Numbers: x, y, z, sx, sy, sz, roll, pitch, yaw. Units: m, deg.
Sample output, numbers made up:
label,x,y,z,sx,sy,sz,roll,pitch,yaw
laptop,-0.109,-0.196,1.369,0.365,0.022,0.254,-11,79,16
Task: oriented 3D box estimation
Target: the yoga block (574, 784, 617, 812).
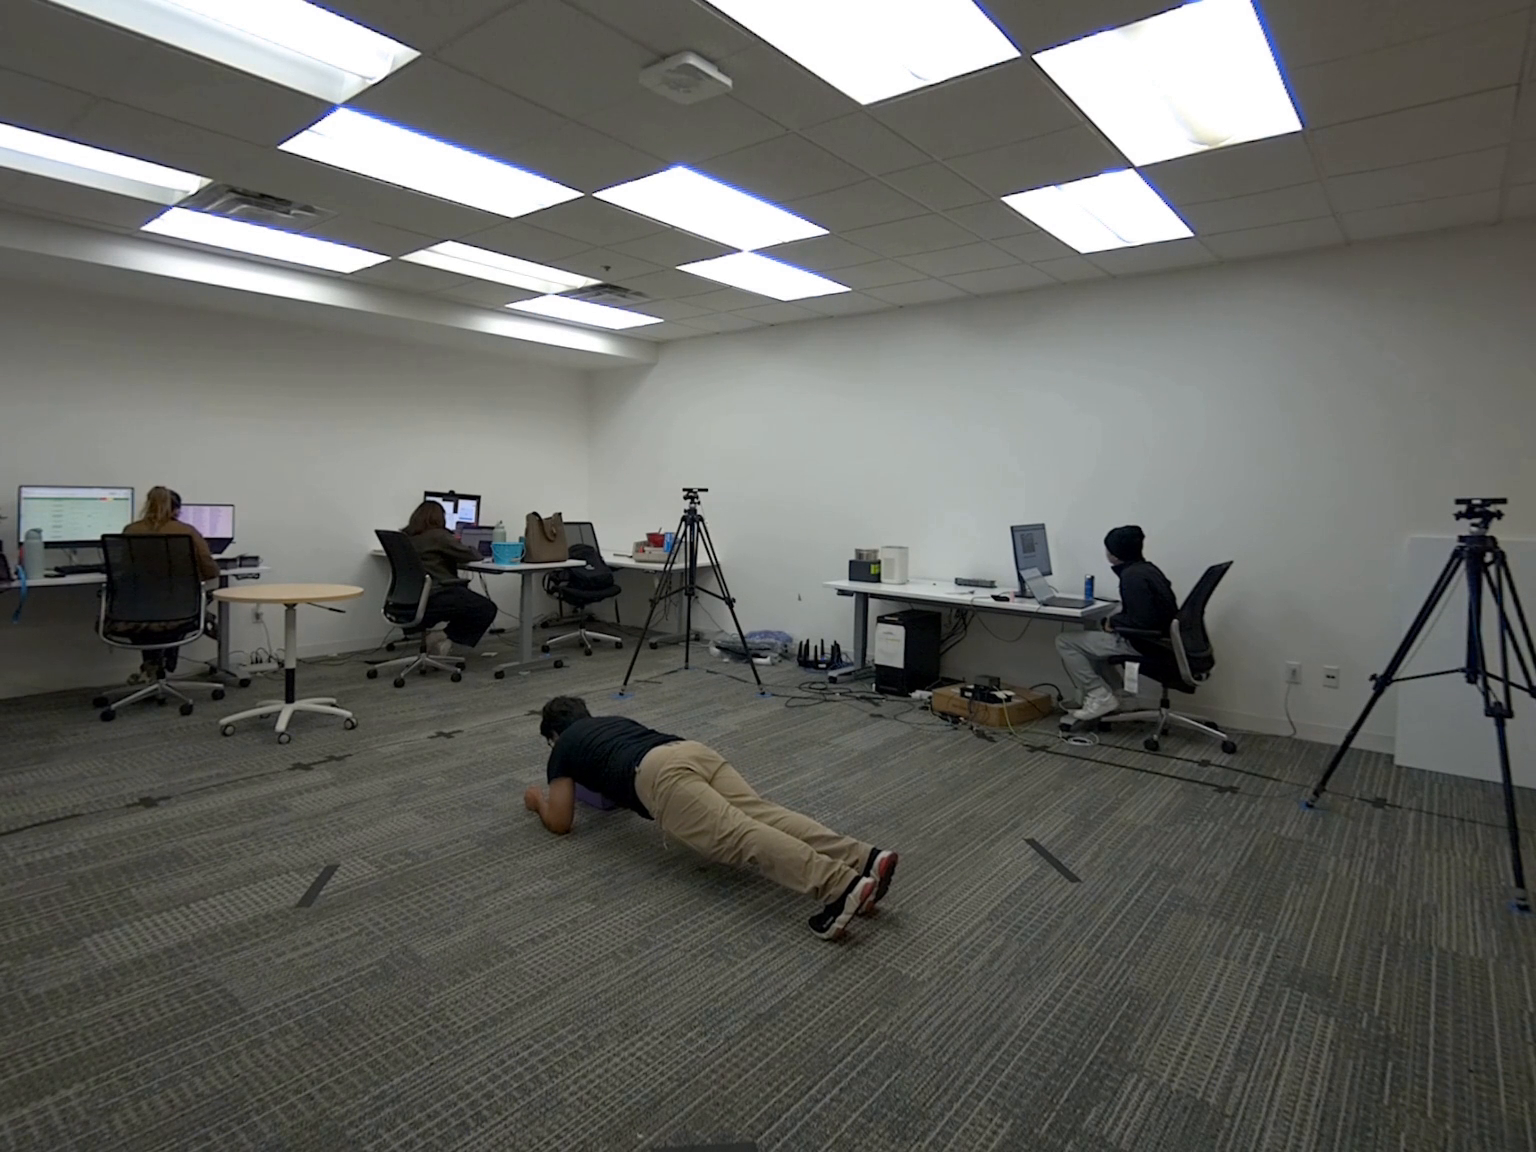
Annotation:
label,x,y,z,sx,sy,sz,roll,pitch,yaw
yoga block,-0.778,0.919,3.758,0.237,0.148,0.074,3,10,45
